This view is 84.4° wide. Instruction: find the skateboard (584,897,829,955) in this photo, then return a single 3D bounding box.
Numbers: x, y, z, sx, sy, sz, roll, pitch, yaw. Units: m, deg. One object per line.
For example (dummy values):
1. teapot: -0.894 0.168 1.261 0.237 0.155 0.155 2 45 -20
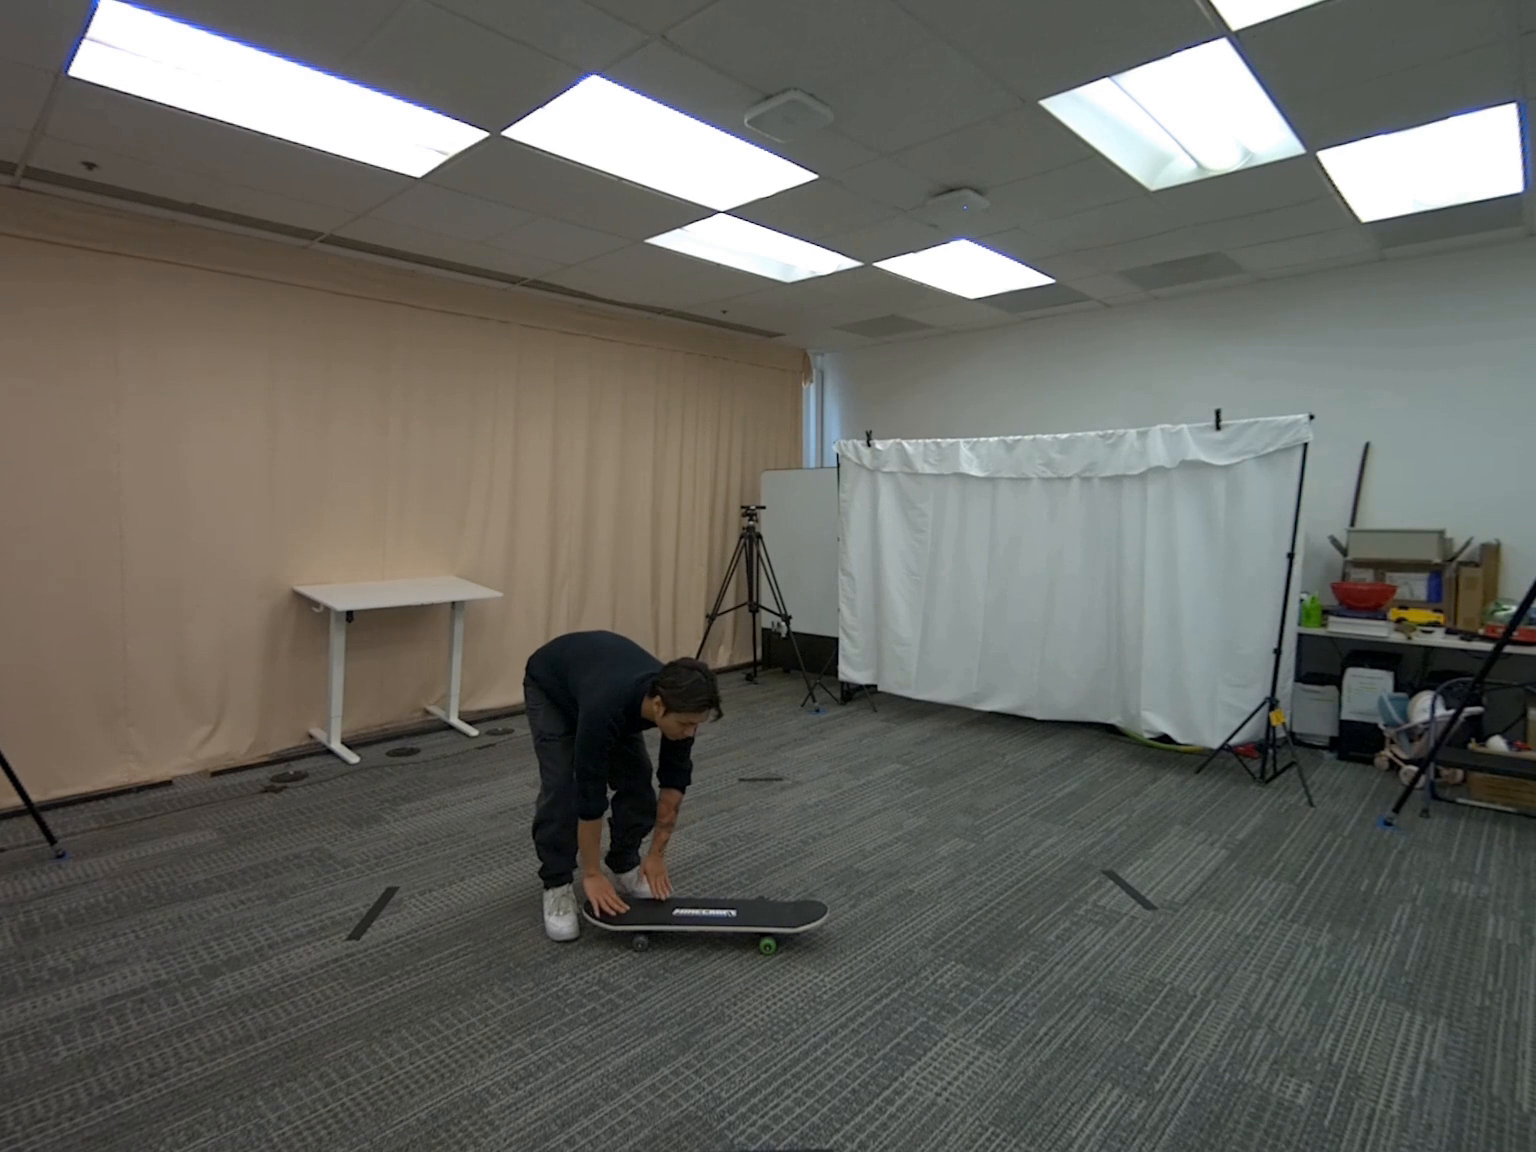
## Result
1. skateboard: -0.198 1.110 2.699 0.787 0.110 0.193 0 5 2
